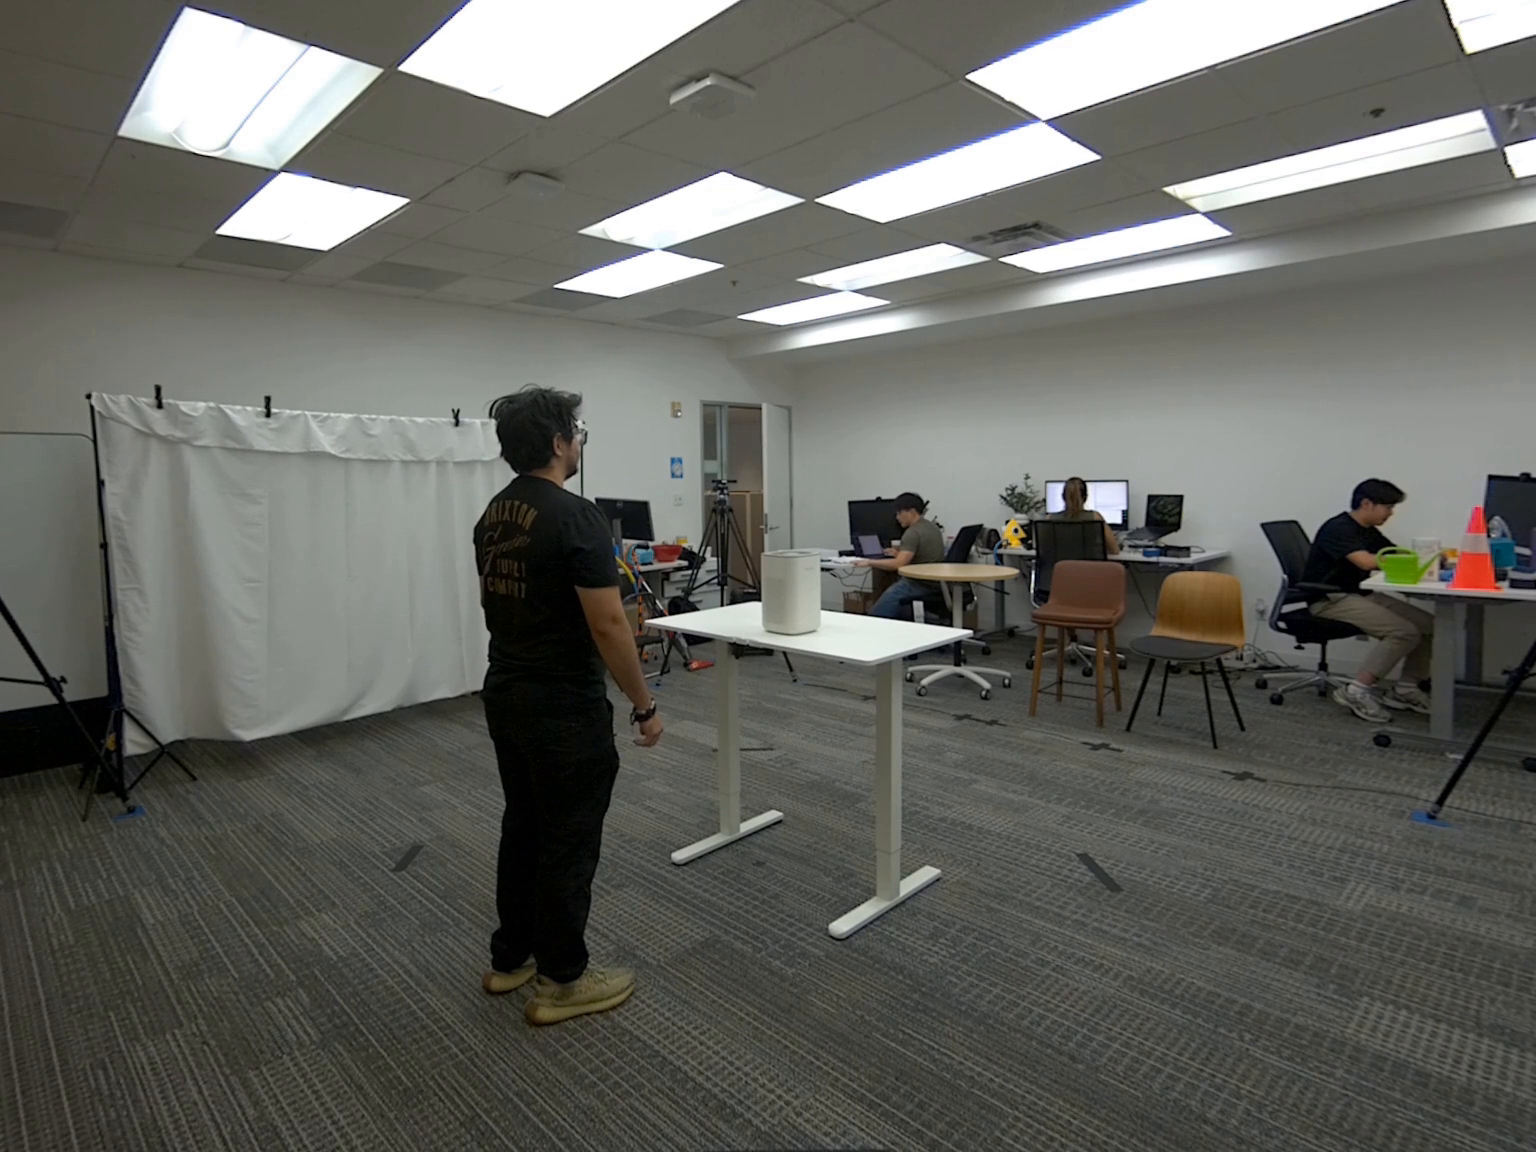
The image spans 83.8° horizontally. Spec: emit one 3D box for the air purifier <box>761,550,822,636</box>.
[{"bbox_3d":[0.083,0.054,2.892,0.177,0.264,0.166,5,7,44],"label":"air purifier"}]
